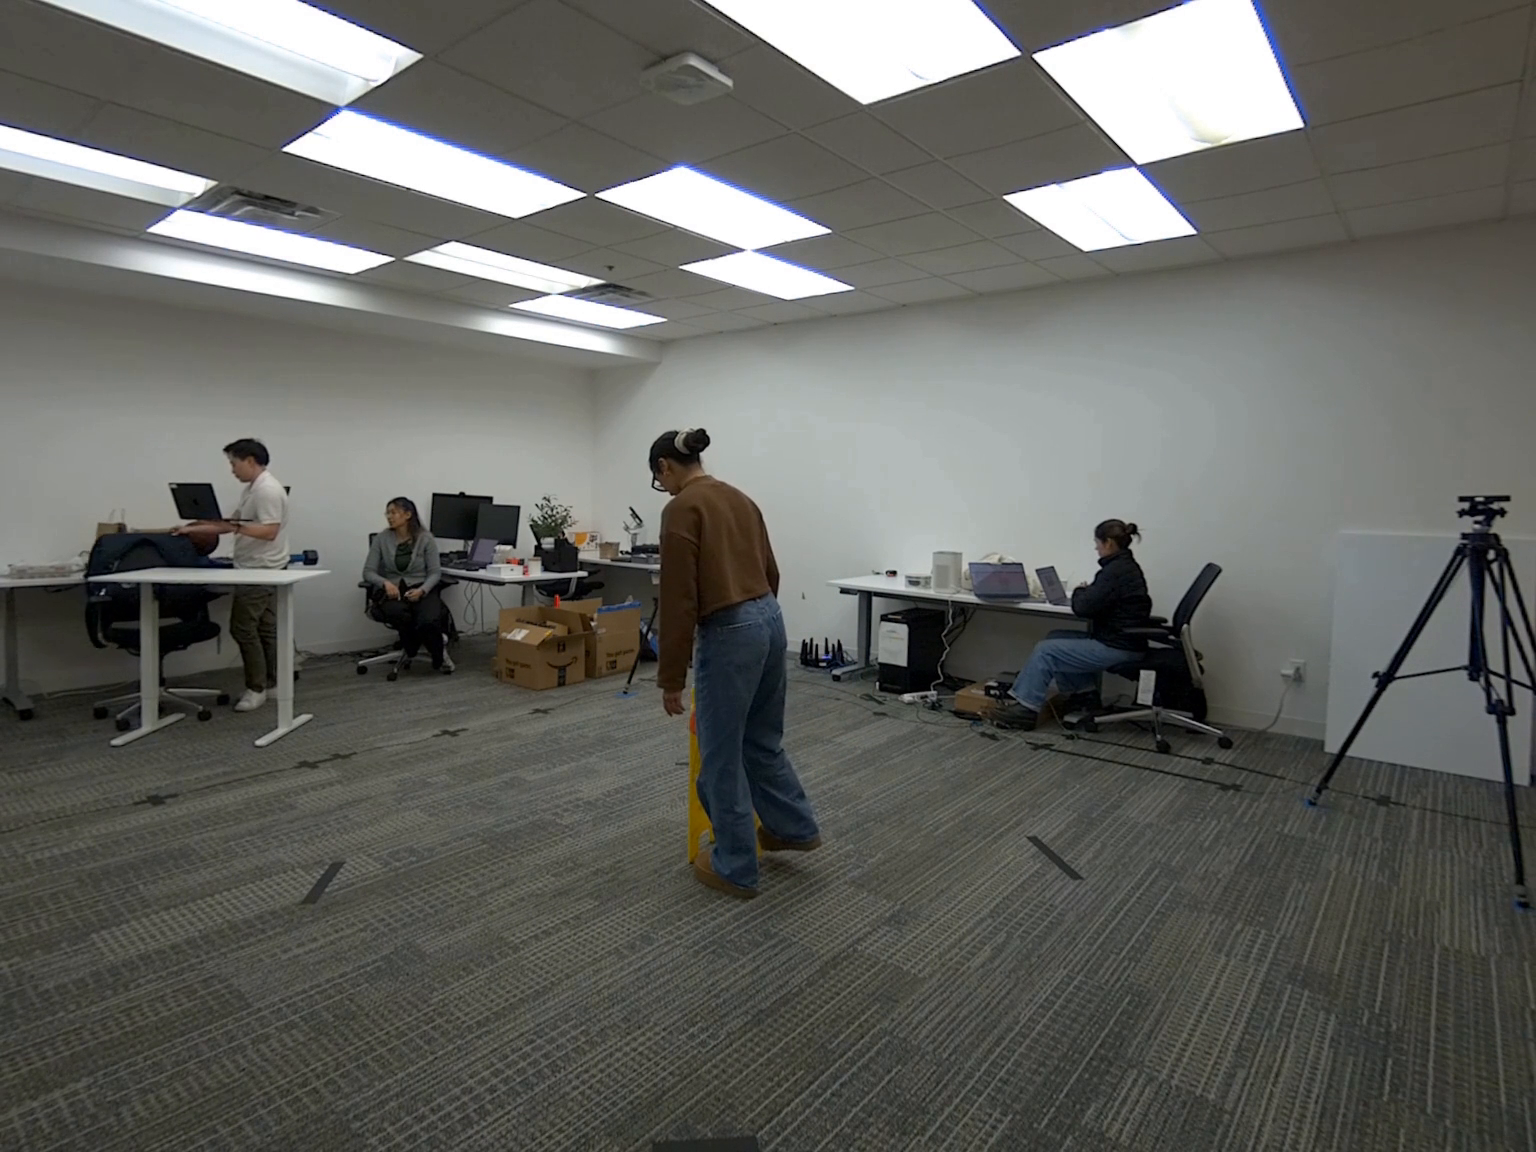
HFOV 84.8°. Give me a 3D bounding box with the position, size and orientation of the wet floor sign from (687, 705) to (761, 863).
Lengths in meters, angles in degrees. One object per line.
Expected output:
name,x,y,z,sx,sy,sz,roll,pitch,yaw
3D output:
wet floor sign,-0.191,0.707,3.234,0.295,0.647,0.277,-11,-1,20
